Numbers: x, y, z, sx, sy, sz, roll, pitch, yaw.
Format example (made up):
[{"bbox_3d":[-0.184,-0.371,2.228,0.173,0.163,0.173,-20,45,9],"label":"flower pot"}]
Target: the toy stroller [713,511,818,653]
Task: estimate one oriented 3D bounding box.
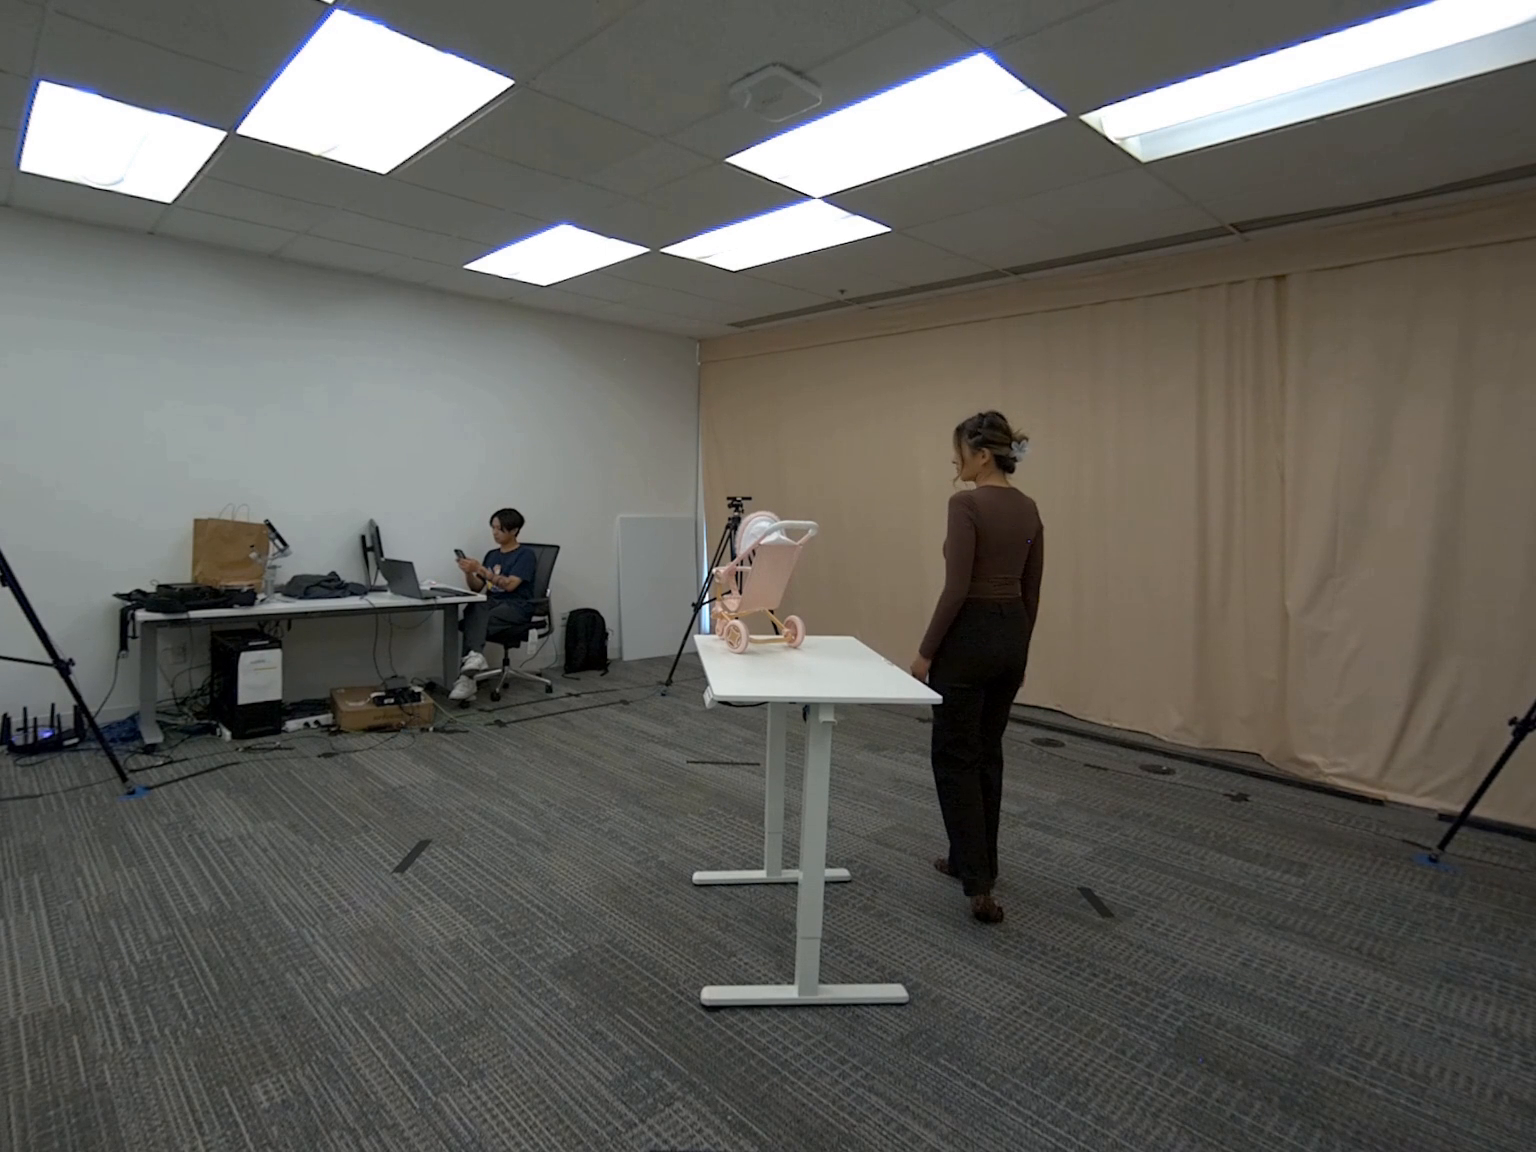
[{"bbox_3d":[-0.042,0.021,2.880,0.275,0.530,0.352,0,19,-35],"label":"toy stroller"}]
